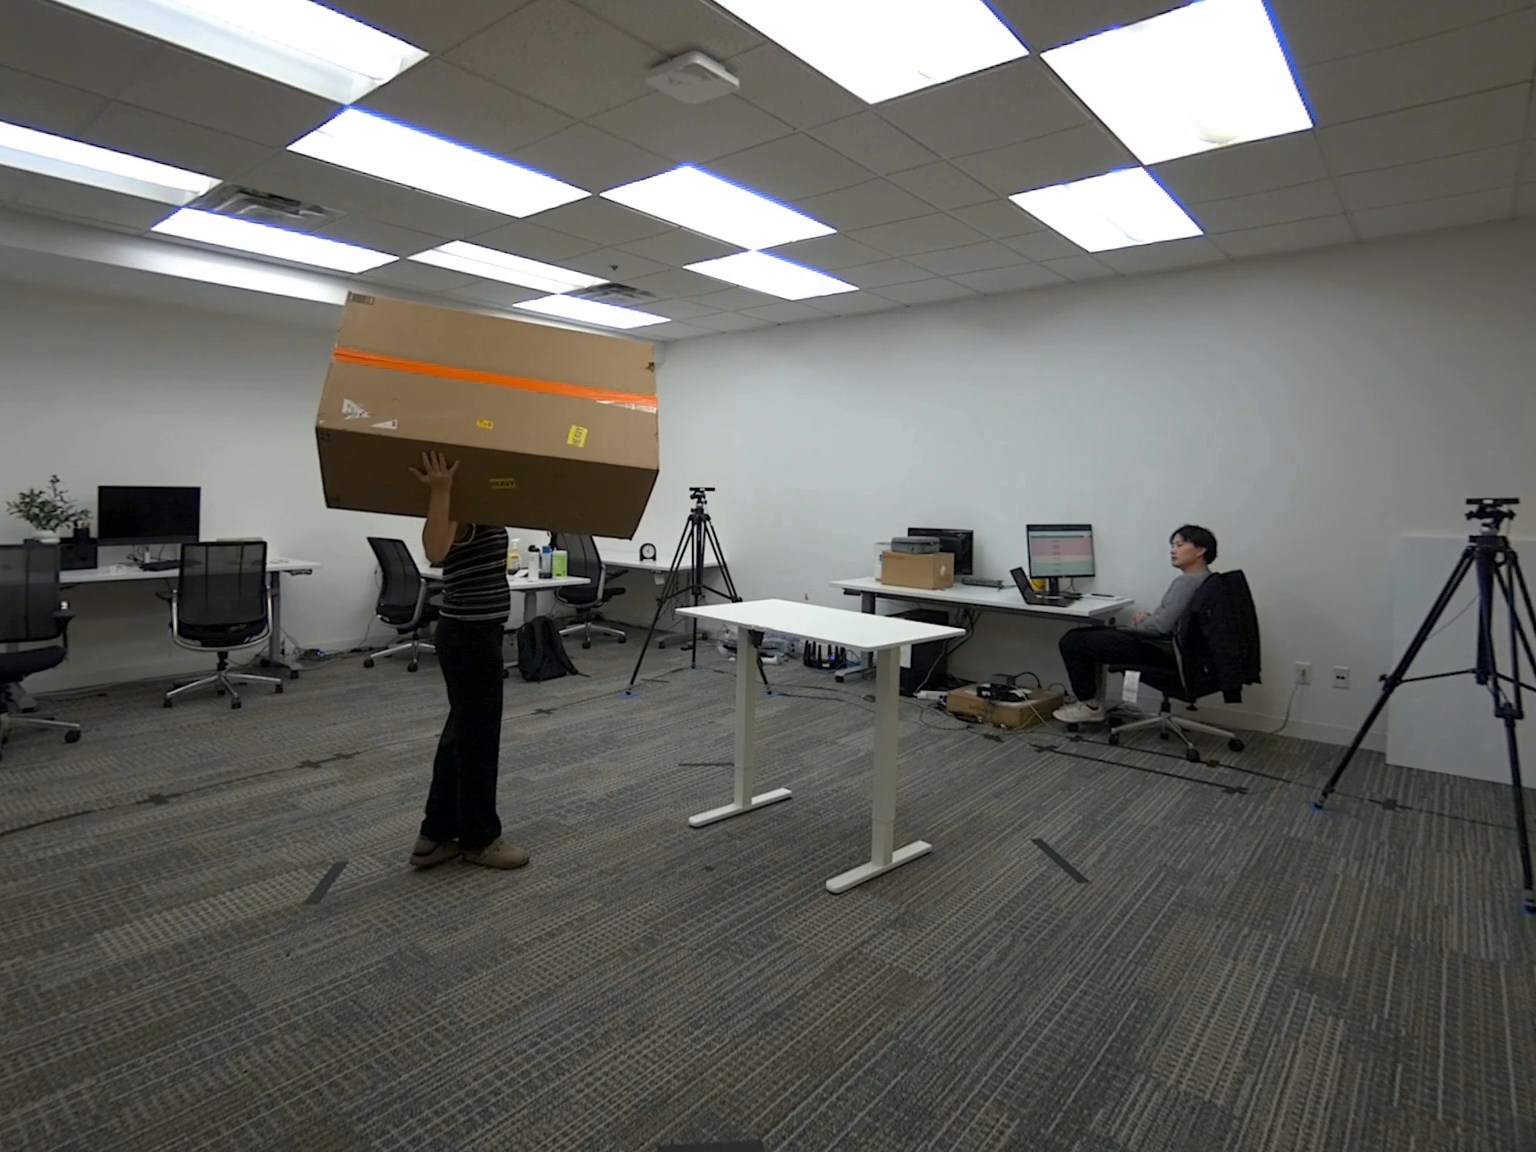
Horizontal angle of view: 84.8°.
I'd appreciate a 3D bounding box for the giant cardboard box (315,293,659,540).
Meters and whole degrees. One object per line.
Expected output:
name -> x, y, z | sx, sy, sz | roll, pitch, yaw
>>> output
giant cardboard box -> -0.935, -0.526, 2.892 | 1.007, 0.594, 0.422 | 6, -33, -17
